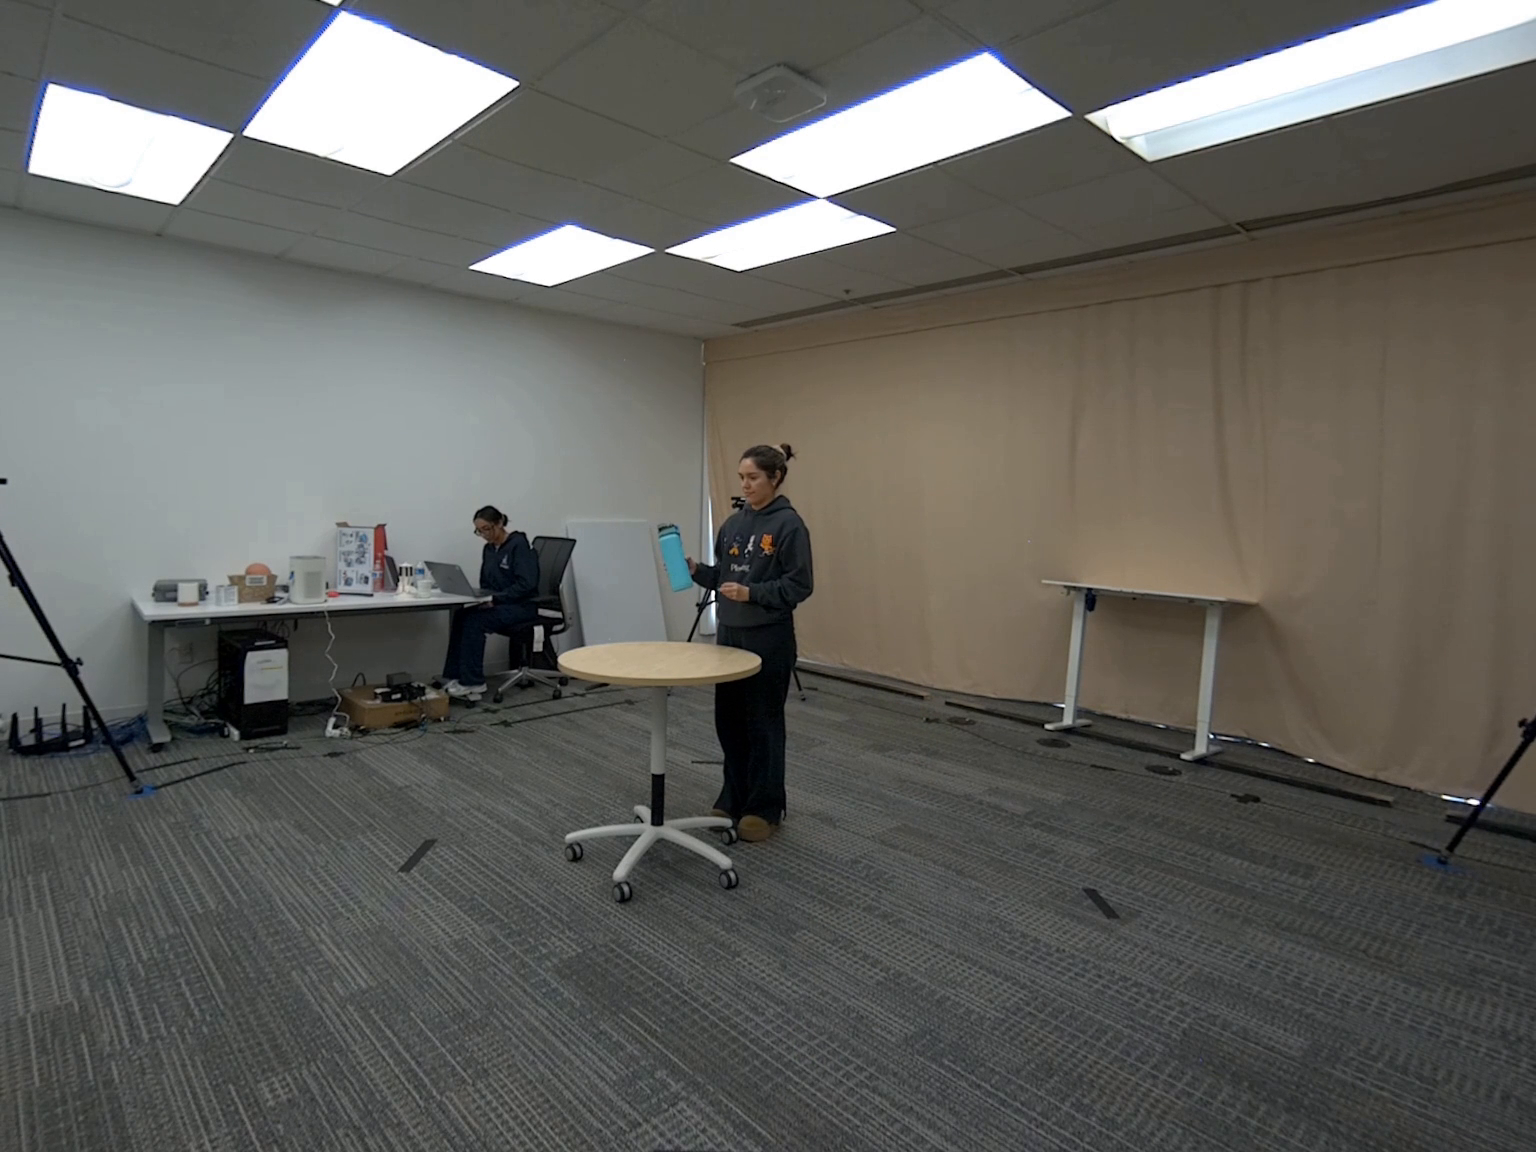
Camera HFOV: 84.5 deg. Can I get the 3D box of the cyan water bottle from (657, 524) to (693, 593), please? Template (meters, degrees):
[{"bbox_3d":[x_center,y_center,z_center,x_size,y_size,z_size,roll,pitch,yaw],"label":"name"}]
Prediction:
[{"bbox_3d":[-0.397,-0.081,3.480,0.092,0.284,0.092,-16,-3,-2],"label":"cyan water bottle"}]
